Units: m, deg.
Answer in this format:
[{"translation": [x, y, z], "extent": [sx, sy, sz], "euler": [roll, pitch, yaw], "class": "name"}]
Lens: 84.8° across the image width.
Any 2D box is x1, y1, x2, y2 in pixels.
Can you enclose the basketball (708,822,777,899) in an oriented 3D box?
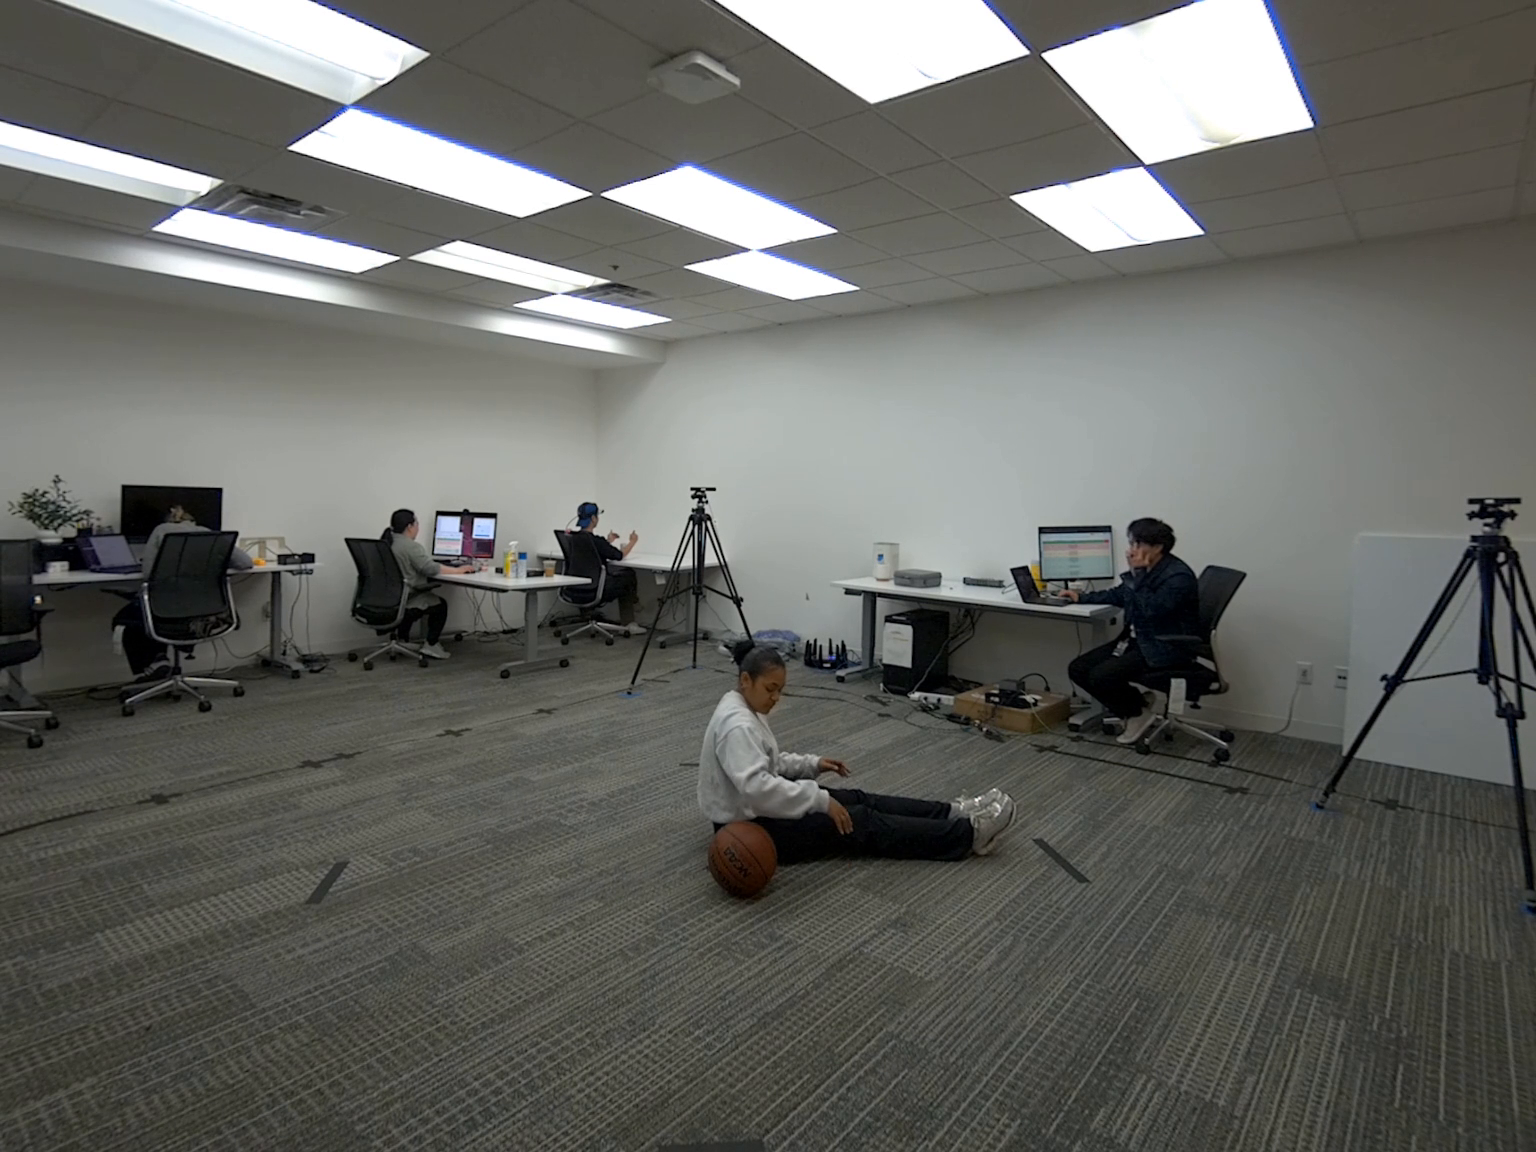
[{"translation": [-0.098, 0.964, 2.930], "extent": [0.235, 0.235, 0.237], "euler": [1, 4, -2], "class": "basketball"}]
